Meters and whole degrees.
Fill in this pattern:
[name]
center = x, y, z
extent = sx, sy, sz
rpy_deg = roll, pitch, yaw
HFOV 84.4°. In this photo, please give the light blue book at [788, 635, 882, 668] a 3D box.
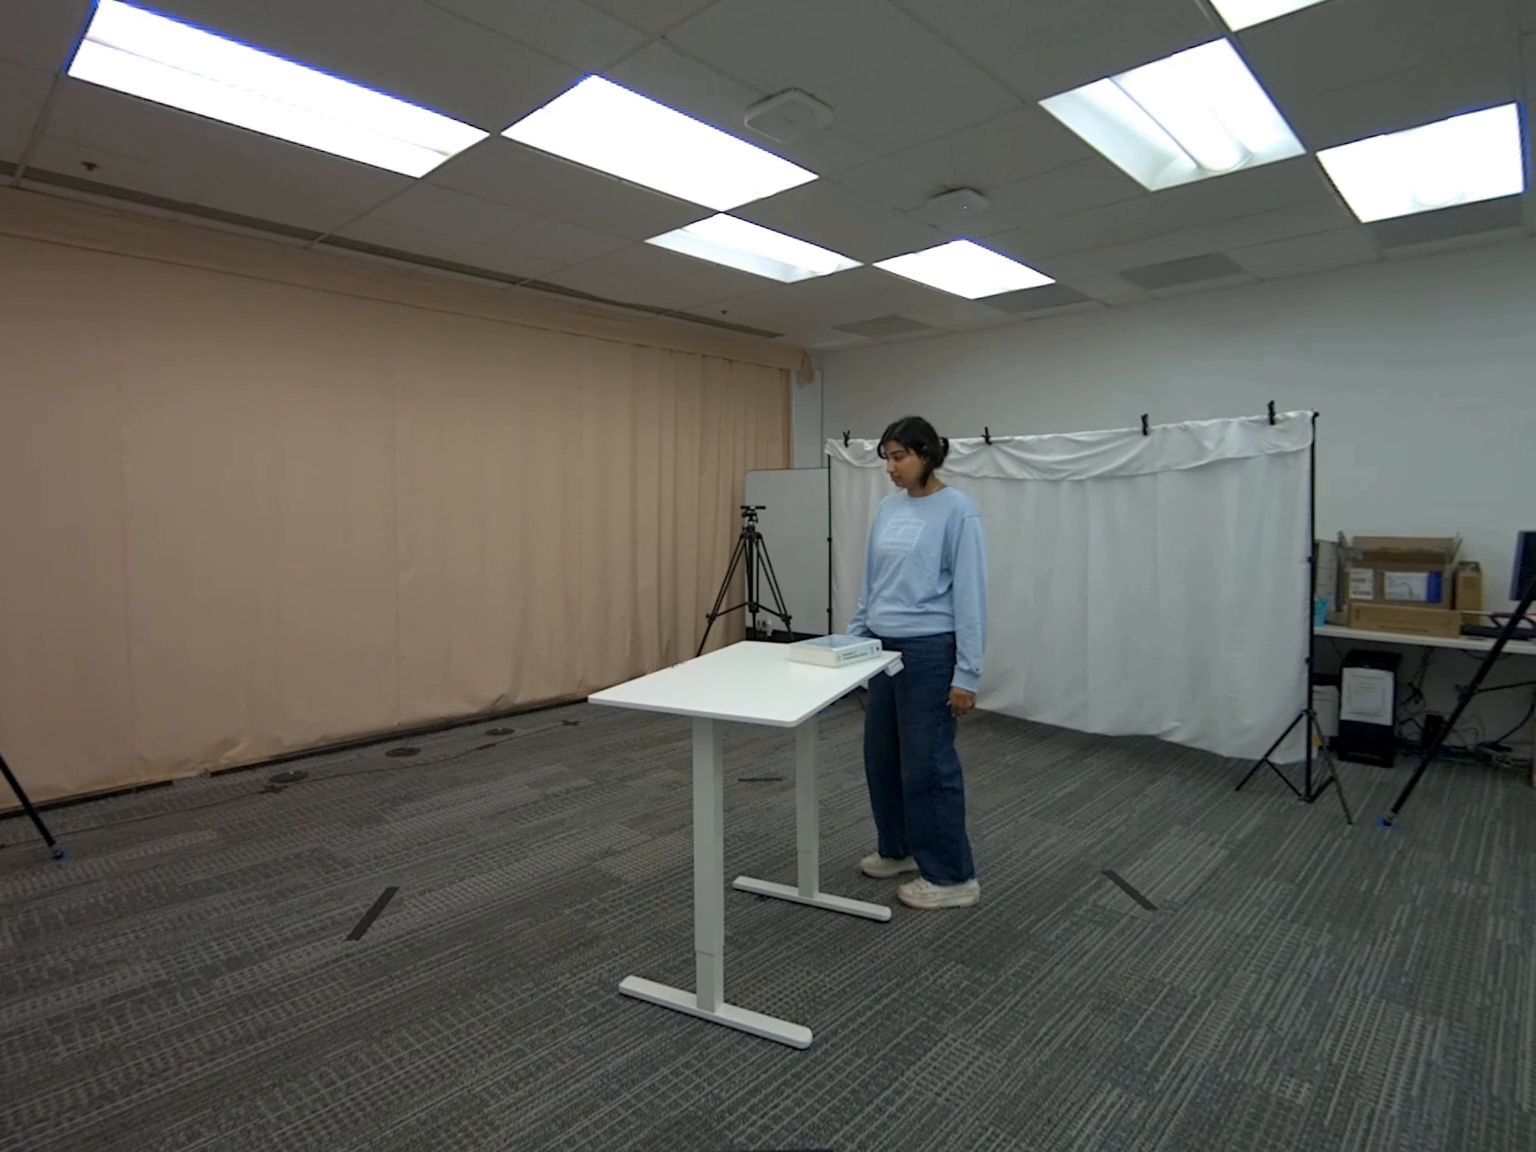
[light blue book]
center = 0.225, 0.249, 2.775
extent = 0.198, 0.059, 0.253
rpy_deg = 4, 7, 43
